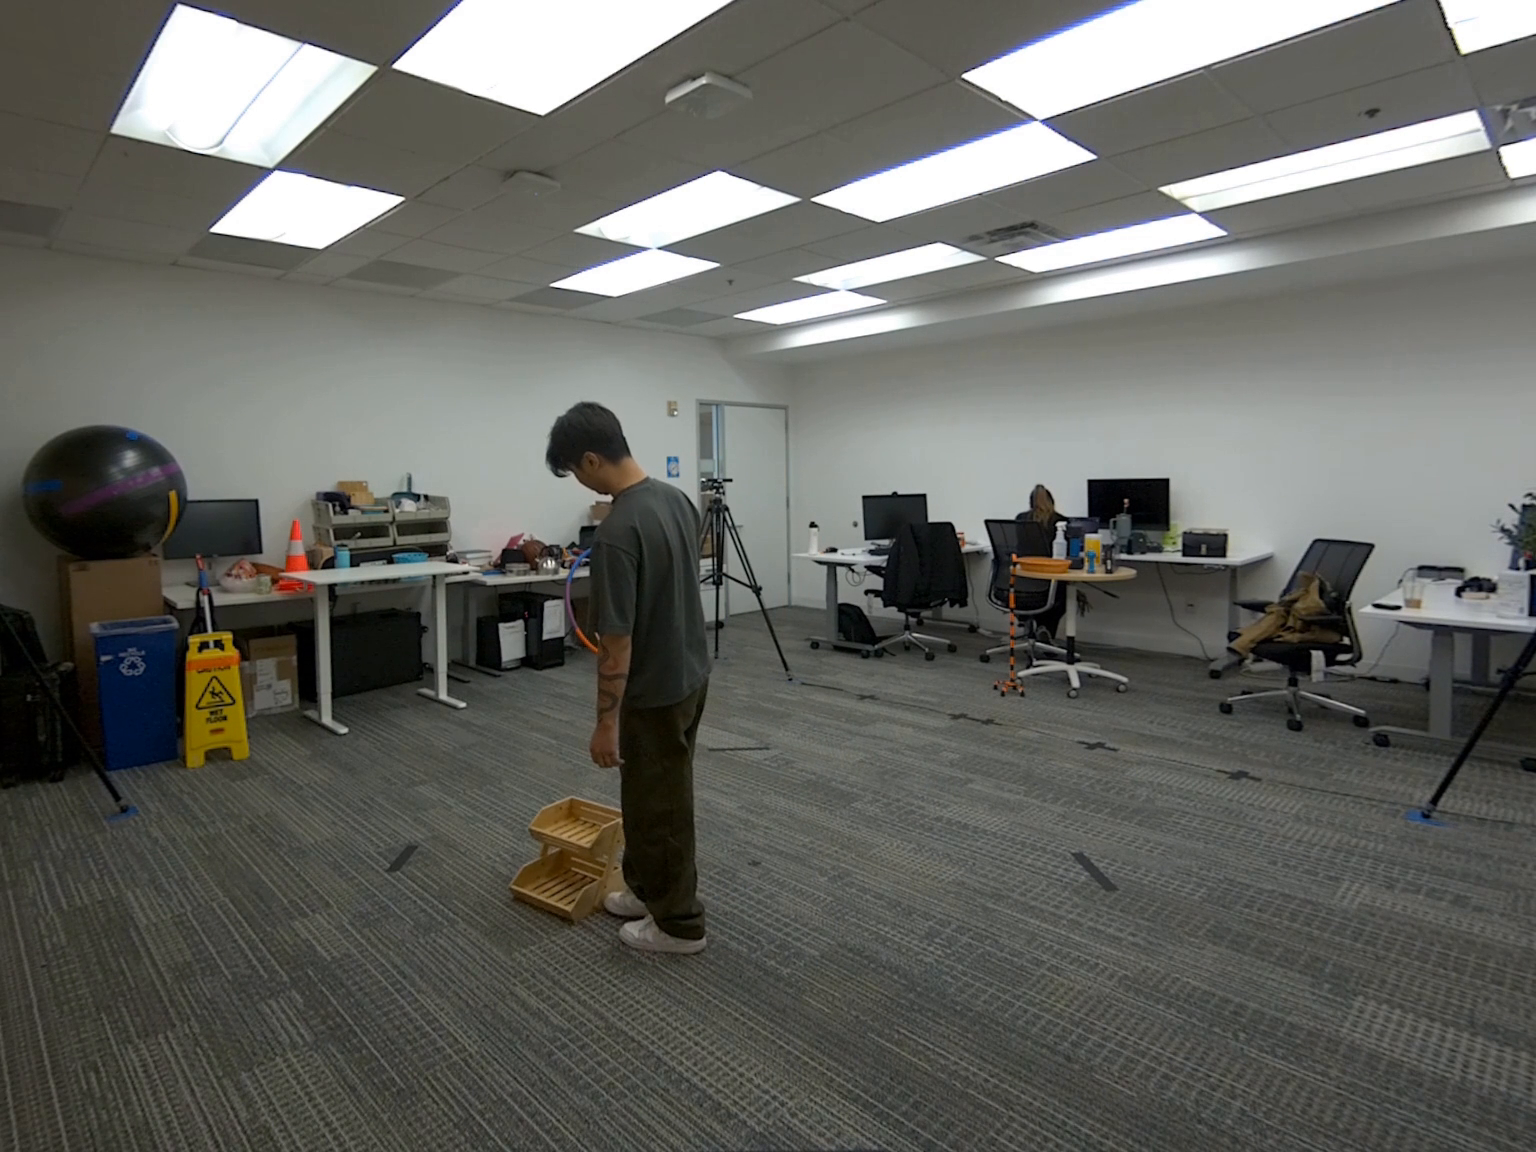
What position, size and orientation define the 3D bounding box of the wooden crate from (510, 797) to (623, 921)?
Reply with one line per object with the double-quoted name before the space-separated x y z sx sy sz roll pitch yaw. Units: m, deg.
"wooden crate" -0.661 0.946 2.893 0.334 0.272 0.294 2 6 35
